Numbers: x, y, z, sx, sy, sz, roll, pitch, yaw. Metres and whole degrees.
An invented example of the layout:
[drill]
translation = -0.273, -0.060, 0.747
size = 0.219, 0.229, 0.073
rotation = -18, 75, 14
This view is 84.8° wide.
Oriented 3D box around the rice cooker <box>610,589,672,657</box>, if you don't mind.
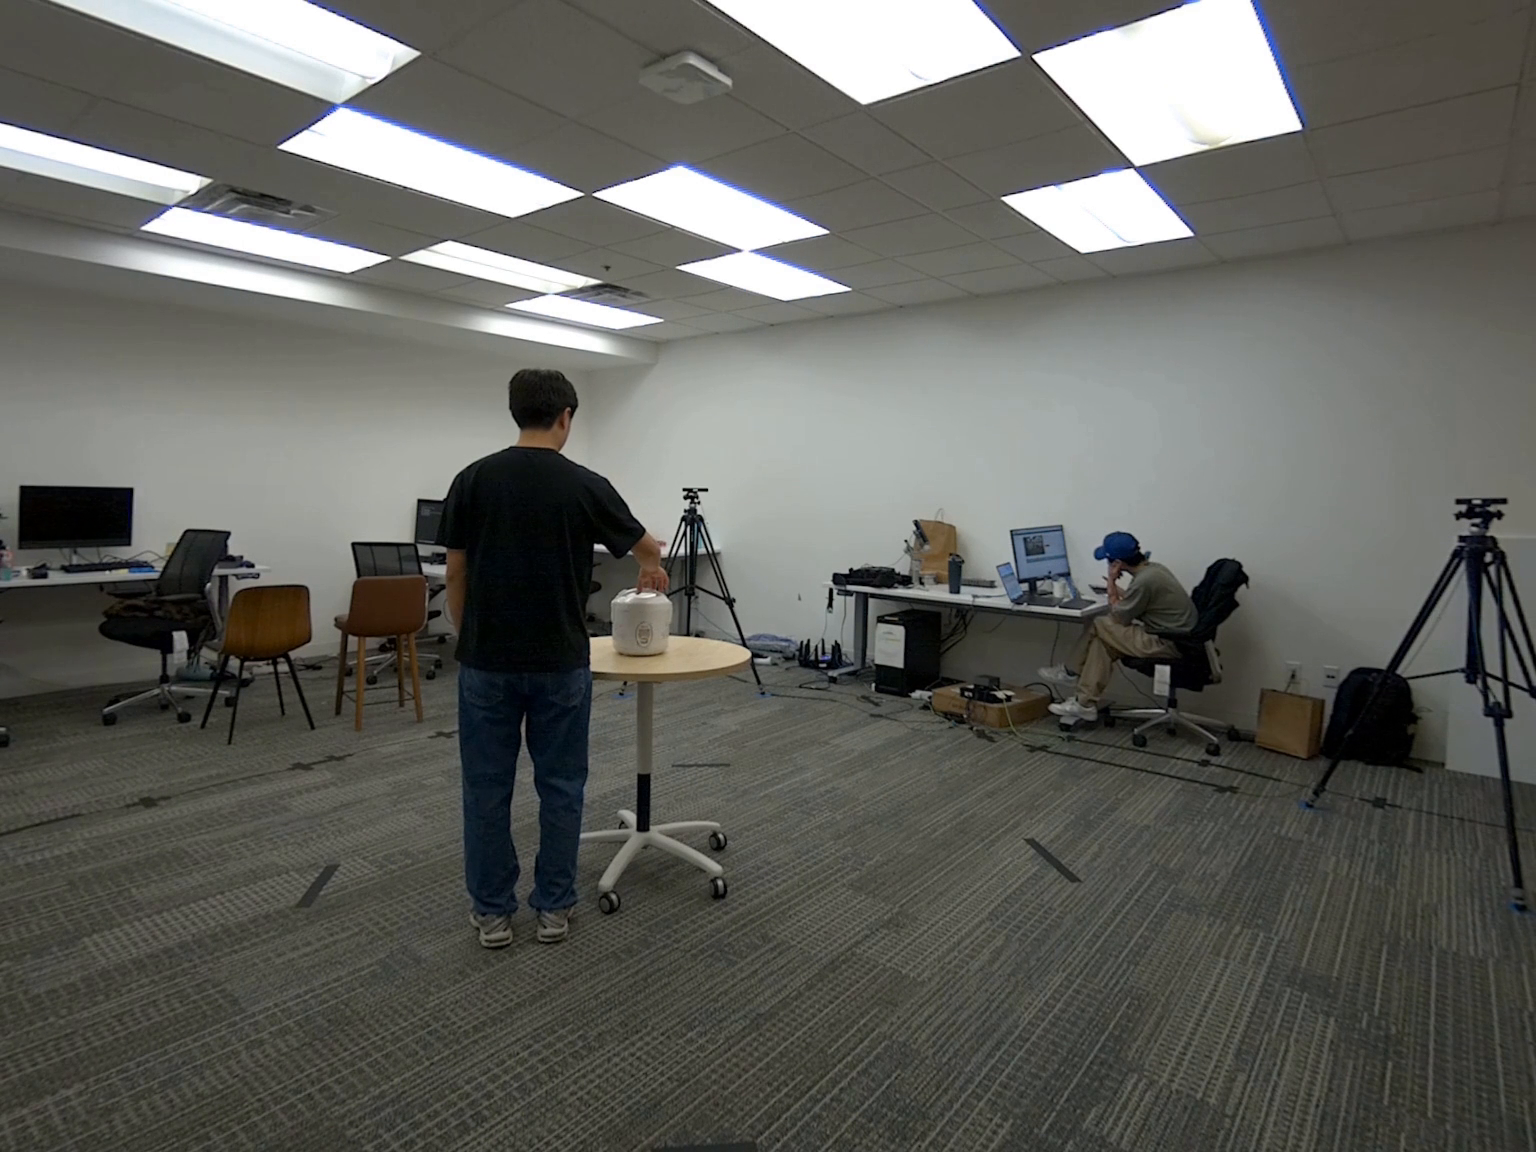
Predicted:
[rice cooker]
translation = -0.466, 0.158, 3.072
size = 0.218, 0.232, 0.221
rotation = -1, 3, -13
